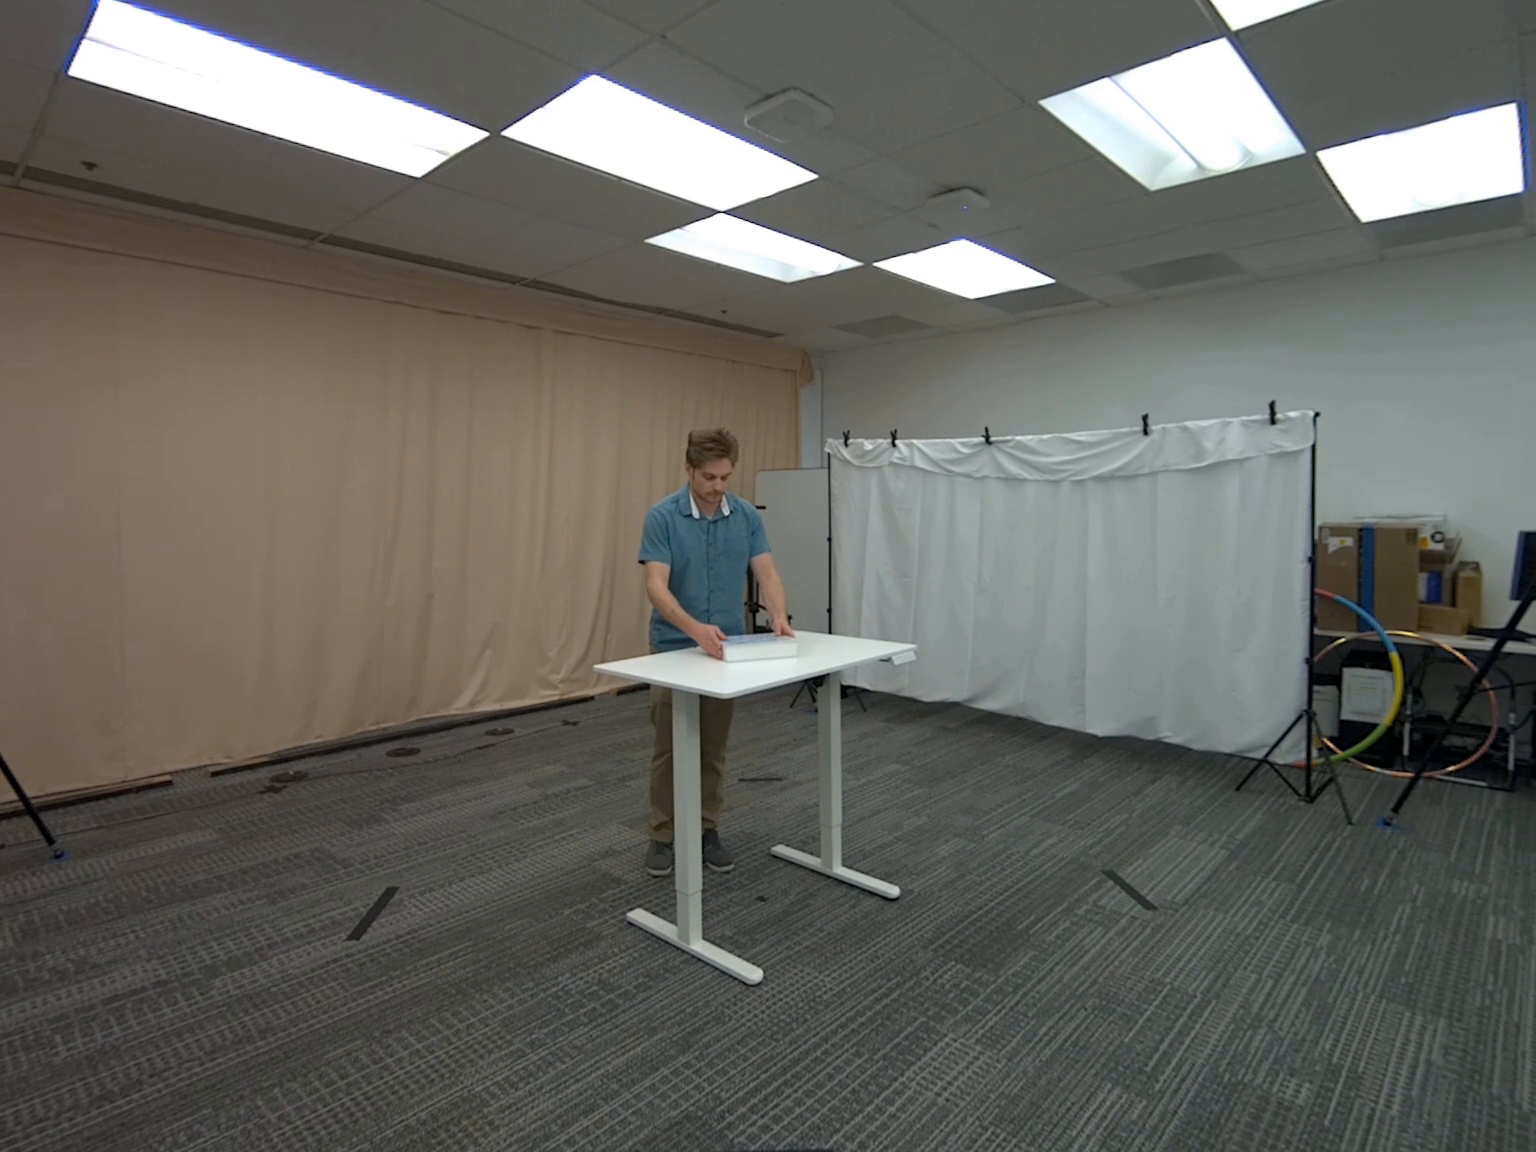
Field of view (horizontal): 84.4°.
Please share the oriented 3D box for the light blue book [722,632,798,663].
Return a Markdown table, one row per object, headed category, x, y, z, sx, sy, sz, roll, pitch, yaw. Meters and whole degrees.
| category | x | y | z | sx | sy | sz | roll | pitch | yaw |
| --- | --- | --- | --- | --- | --- | --- | --- | --- | --- |
| light blue book | -0.059 | 0.244 | 2.875 | 0.256 | 0.059 | 0.196 | -3 | 5 | -21 |
